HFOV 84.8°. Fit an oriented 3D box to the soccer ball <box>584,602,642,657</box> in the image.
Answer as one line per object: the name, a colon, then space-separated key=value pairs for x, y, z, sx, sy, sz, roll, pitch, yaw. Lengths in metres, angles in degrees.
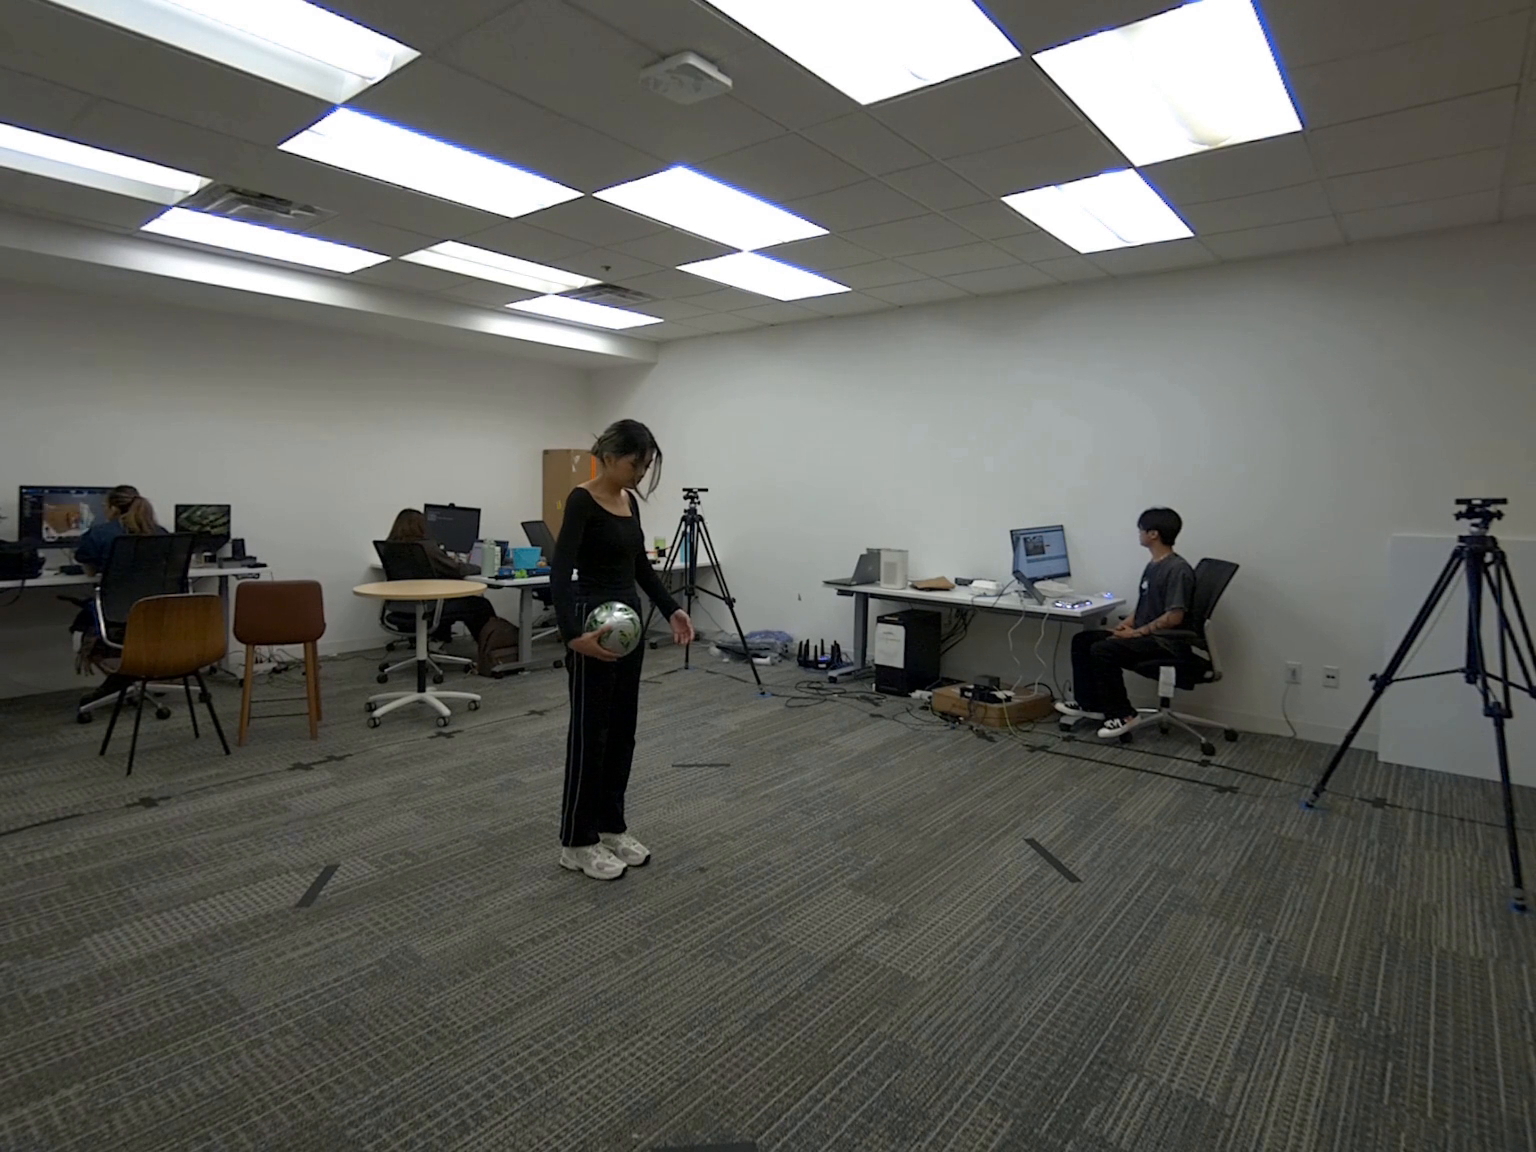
soccer ball: x=-0.541 y=0.176 z=2.850 sx=0.187 sy=0.187 sz=0.188 roll=1 pitch=4 yaw=-2
